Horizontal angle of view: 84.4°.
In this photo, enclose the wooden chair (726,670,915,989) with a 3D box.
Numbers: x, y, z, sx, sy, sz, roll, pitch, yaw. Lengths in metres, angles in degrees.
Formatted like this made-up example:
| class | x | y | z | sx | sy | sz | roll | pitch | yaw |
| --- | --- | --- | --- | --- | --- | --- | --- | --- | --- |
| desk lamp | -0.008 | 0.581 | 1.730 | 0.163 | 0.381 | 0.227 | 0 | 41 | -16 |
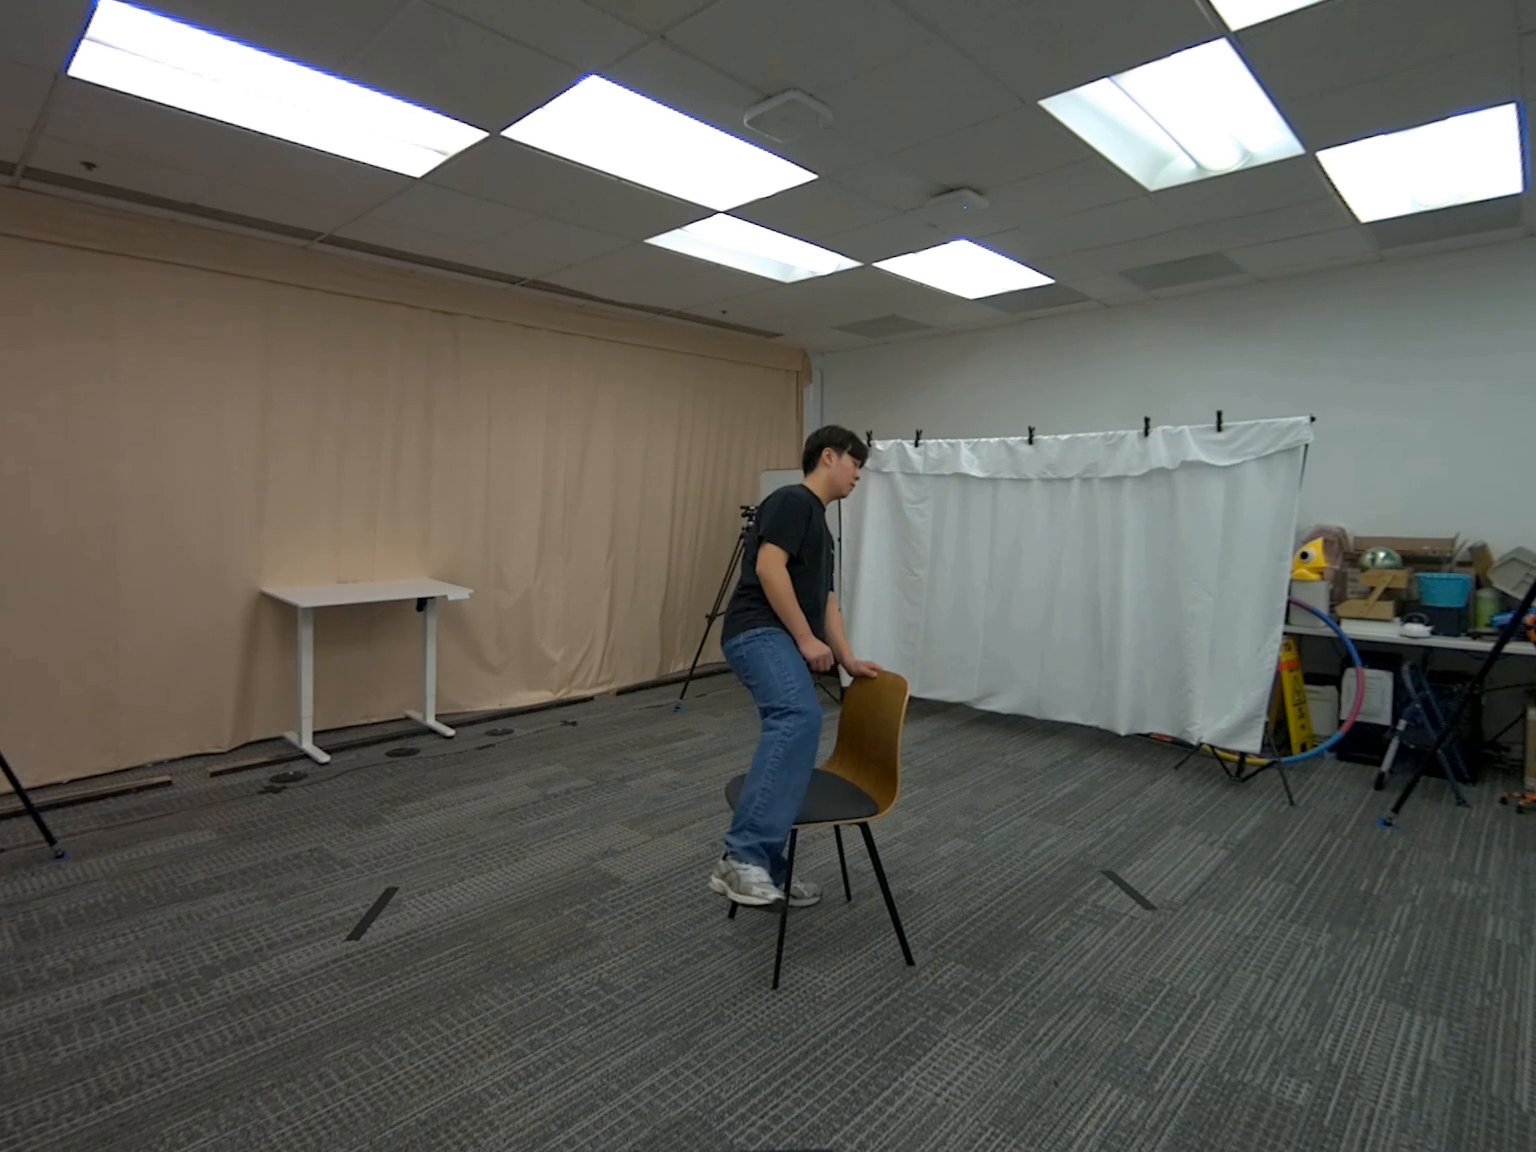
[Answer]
| class | x | y | z | sx | sy | sz | roll | pitch | yaw |
| --- | --- | --- | --- | --- | --- | --- | --- | --- | --- |
| wooden chair | 0.157 | 0.746 | 2.661 | 0.513 | 0.876 | 0.488 | 3 | 2 | -18 |
